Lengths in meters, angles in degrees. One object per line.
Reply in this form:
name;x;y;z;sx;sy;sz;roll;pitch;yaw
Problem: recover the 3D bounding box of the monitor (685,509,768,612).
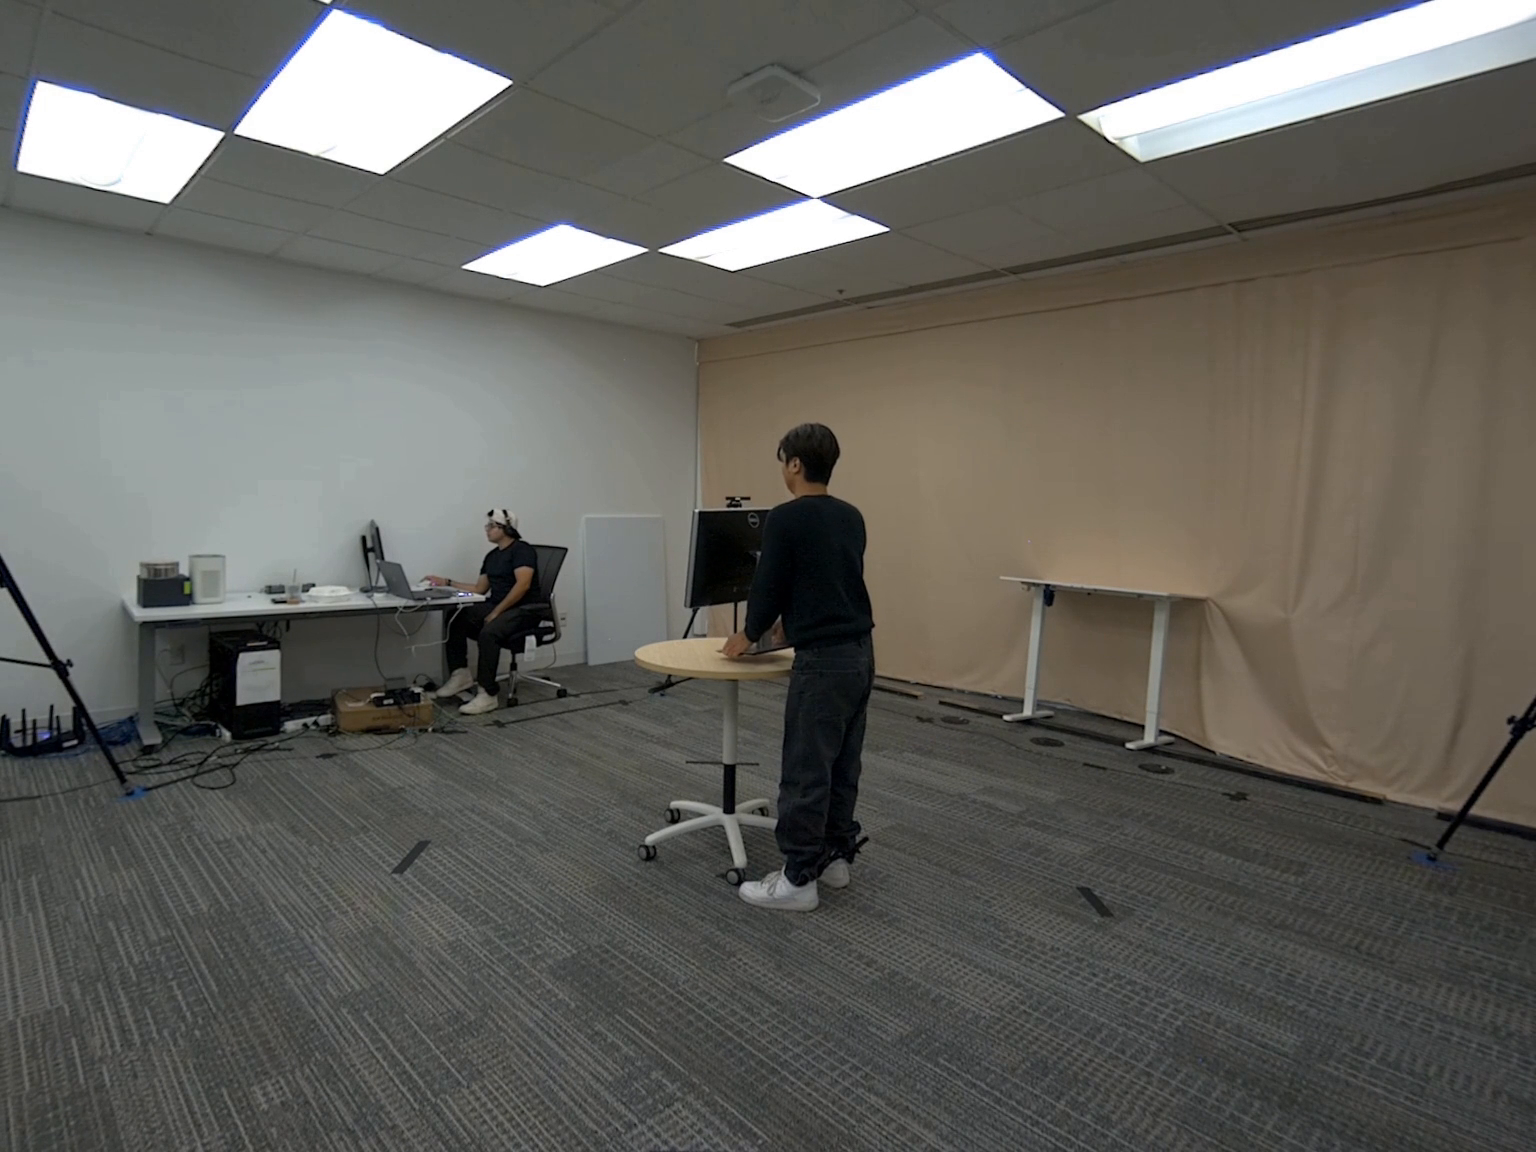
monitor;-0.066;0.015;3.207;0.191;0.523;0.527;-4;0;41
